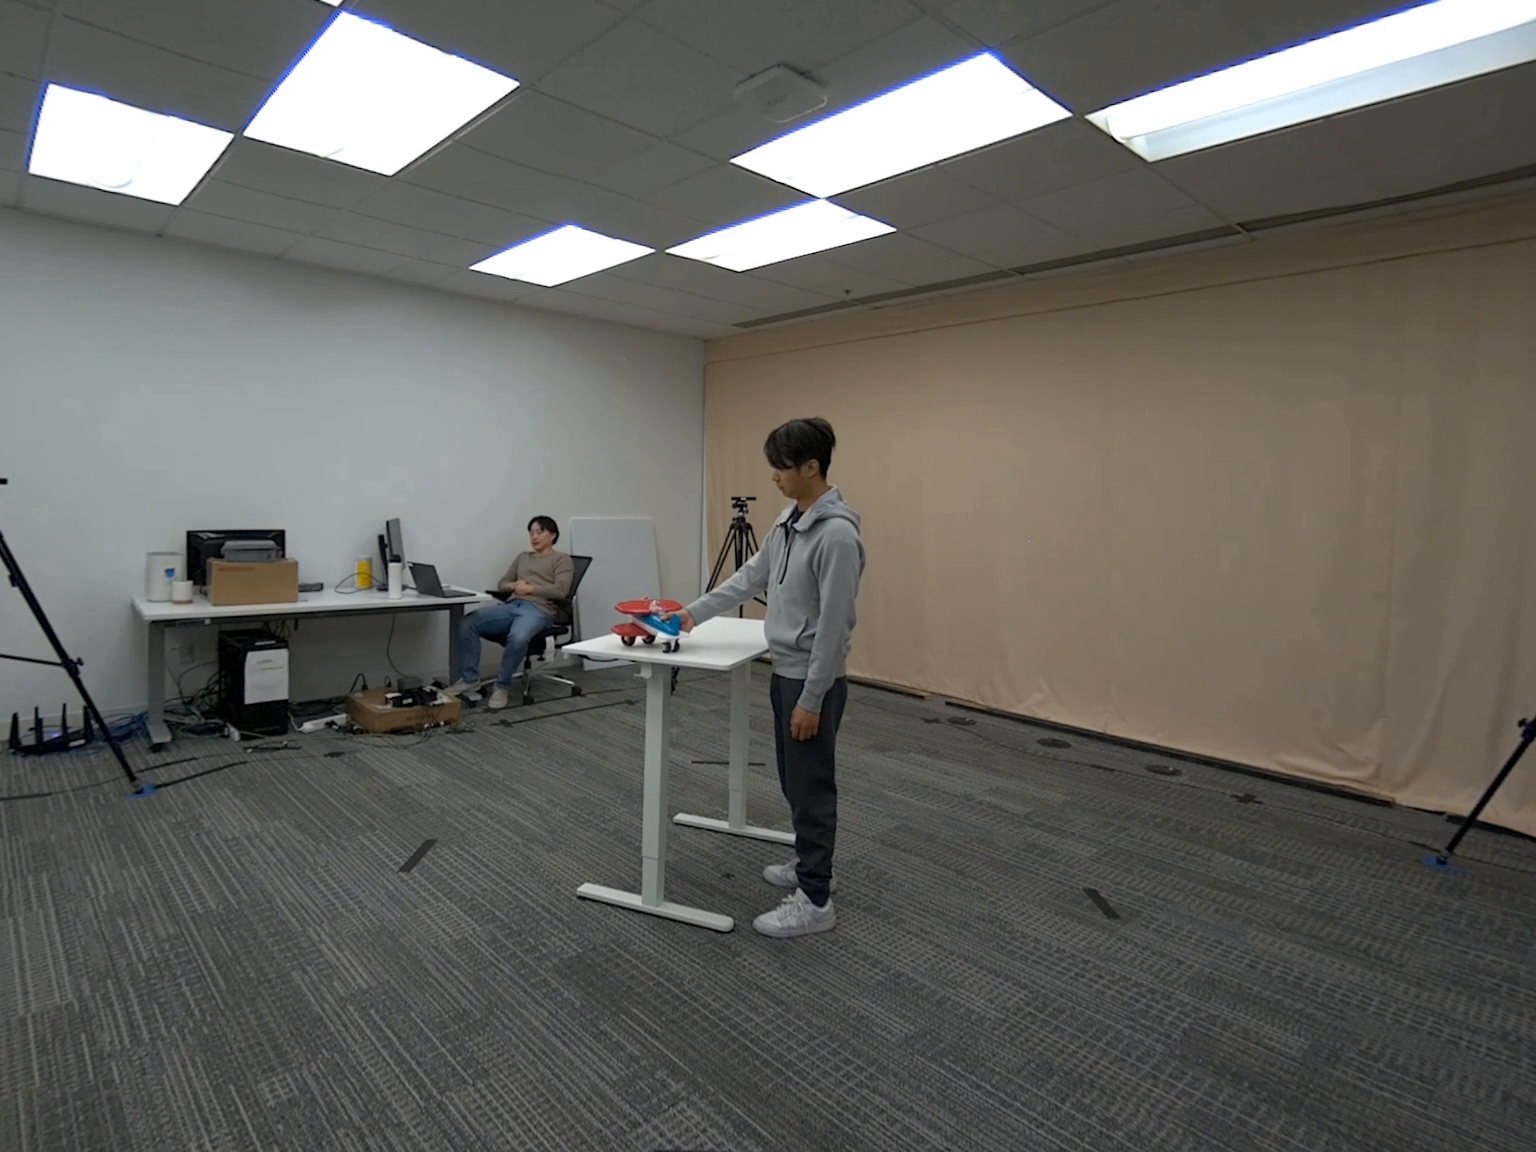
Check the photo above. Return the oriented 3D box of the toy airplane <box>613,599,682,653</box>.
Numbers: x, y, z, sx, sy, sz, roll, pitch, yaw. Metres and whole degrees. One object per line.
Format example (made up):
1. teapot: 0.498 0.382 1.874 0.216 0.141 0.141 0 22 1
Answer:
1. toy airplane: -0.374 0.164 2.832 0.263 0.156 0.248 2 5 20
